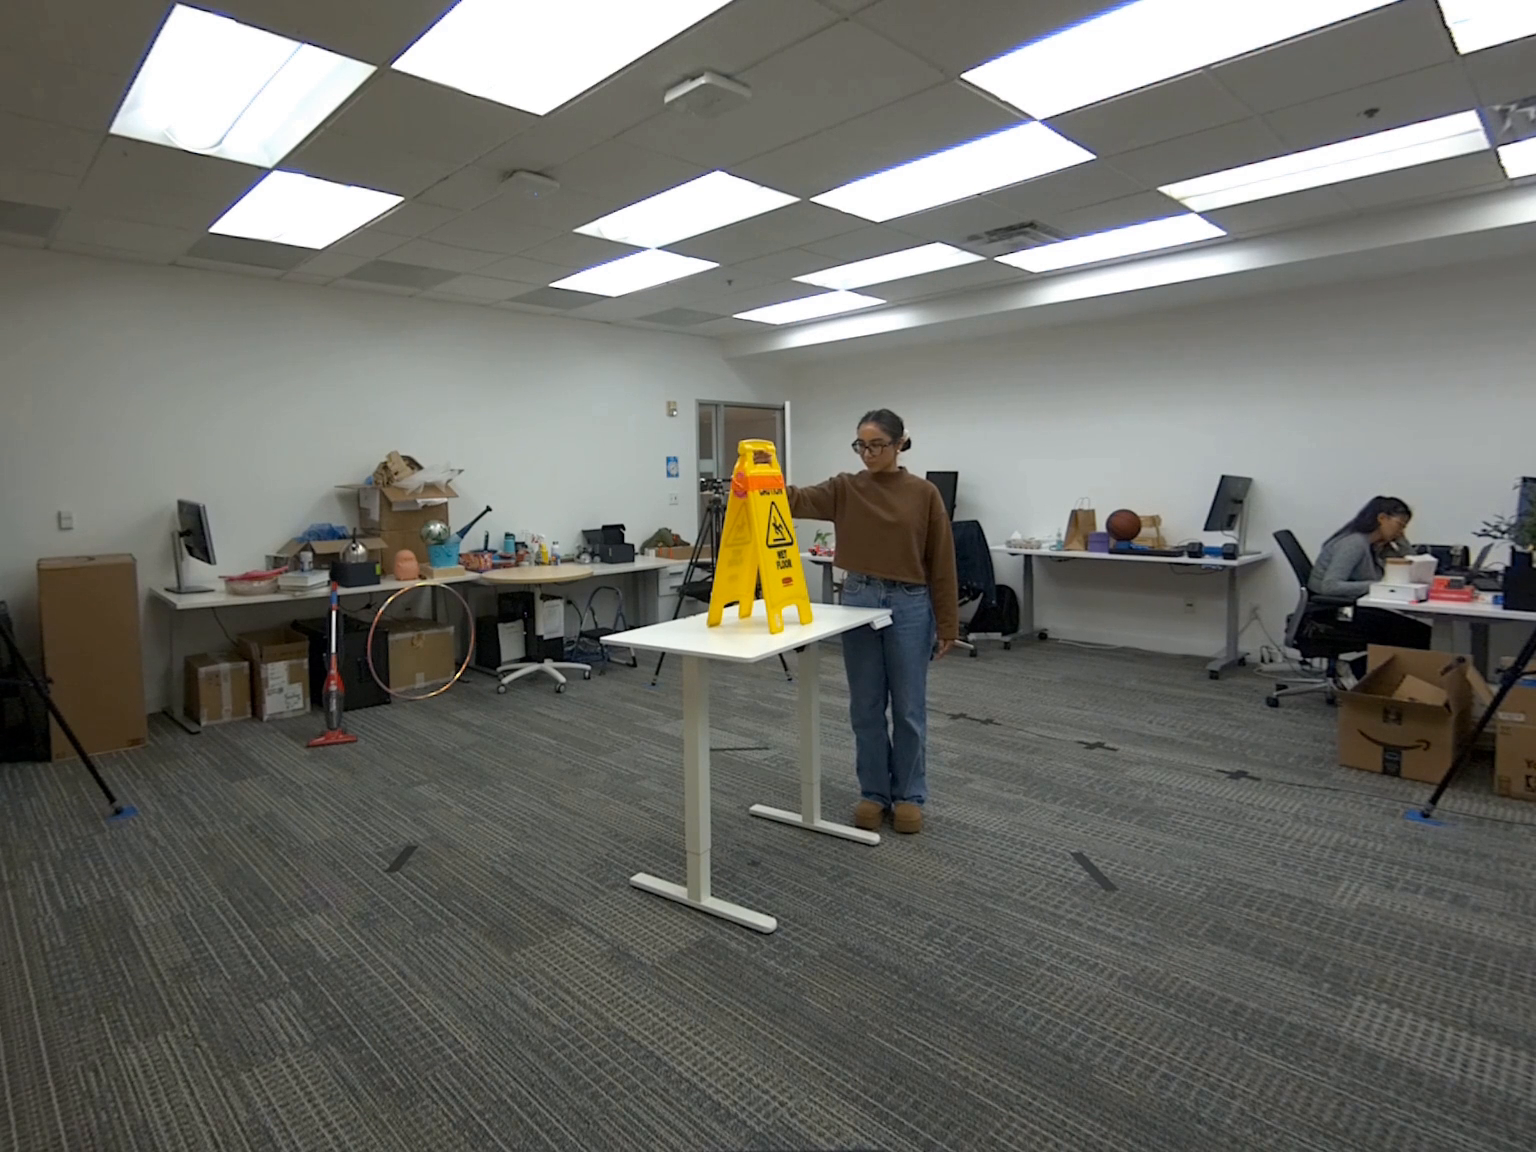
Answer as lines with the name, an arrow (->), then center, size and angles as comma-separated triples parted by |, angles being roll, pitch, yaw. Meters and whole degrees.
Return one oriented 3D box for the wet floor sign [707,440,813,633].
wet floor sign -> -0.034, -0.148, 3.001 | 0.297, 0.644, 0.276 | 1, 4, 32
